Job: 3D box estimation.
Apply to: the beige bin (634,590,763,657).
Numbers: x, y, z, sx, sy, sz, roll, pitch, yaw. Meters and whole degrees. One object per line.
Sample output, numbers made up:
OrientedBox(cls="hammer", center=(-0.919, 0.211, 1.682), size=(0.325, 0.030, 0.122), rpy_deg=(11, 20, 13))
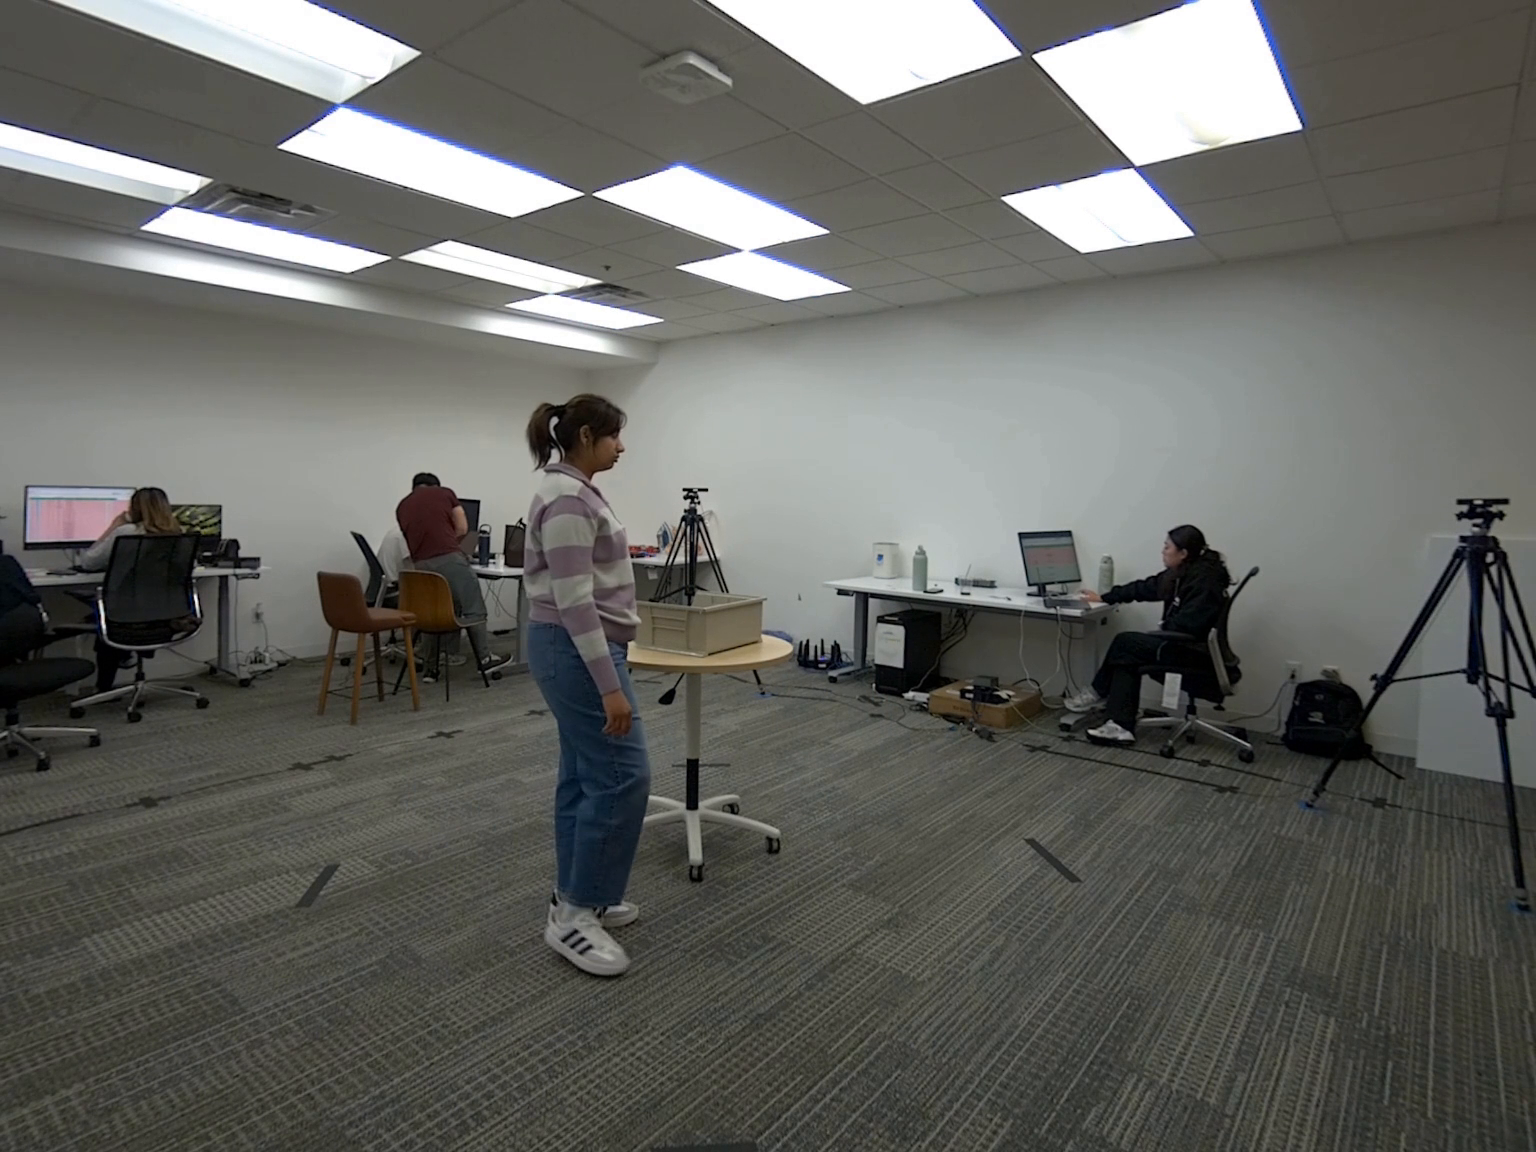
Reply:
OrientedBox(cls="beige bin", center=(-0.283, 0.174, 3.317), size=(0.389, 0.188, 0.411), rpy_deg=(6, 7, 32))
